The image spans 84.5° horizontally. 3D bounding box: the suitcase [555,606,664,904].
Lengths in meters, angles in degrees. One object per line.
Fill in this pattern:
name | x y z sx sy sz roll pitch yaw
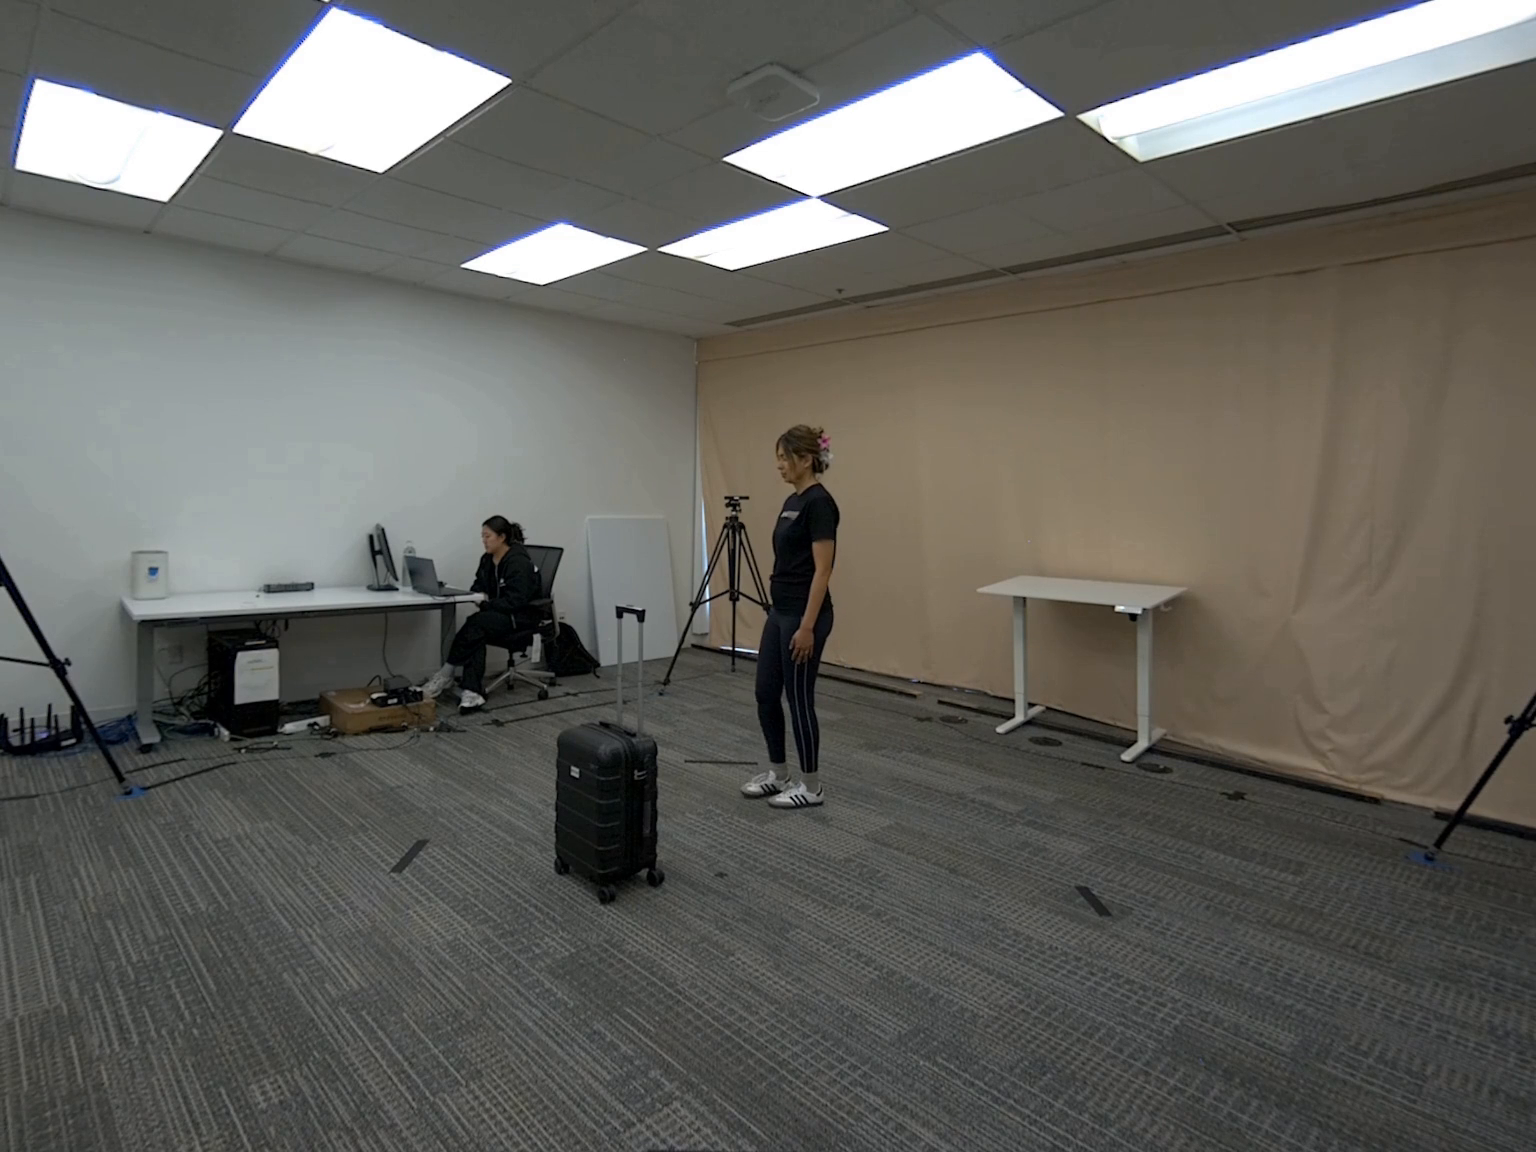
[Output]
suitcase | -0.598 0.624 3.038 0.251 0.976 0.393 -4 4 -42
